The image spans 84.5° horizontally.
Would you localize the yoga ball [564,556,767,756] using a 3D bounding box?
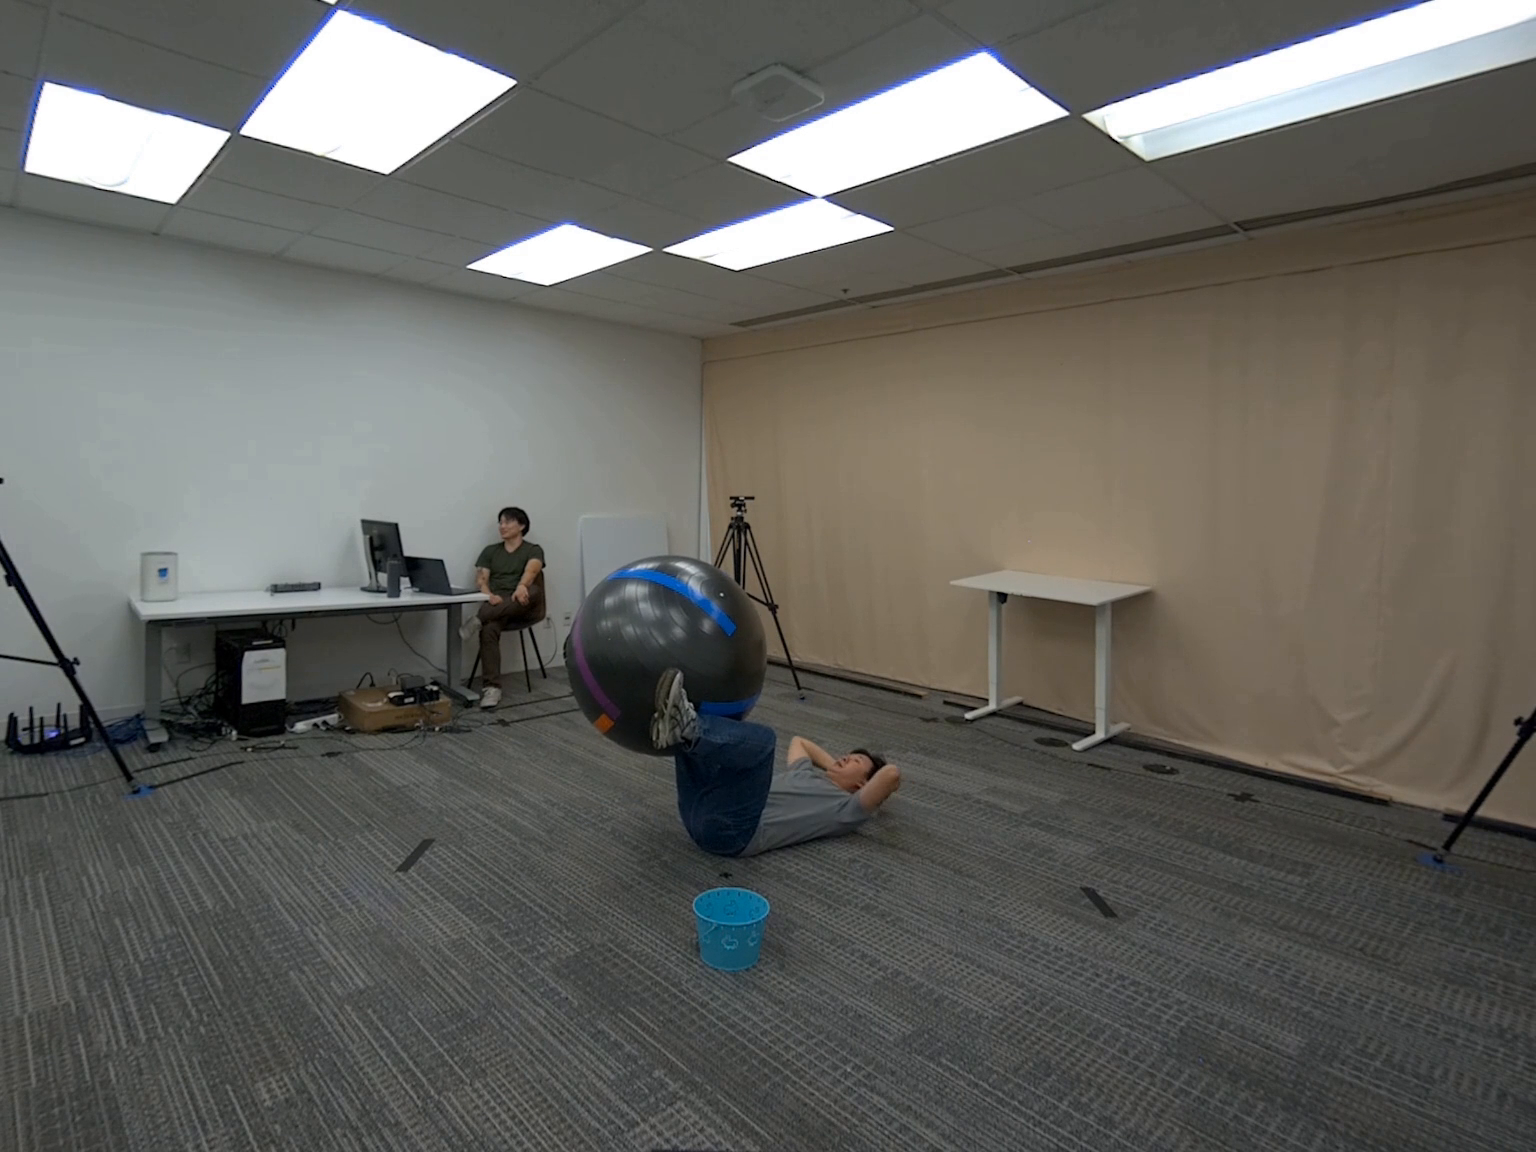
[{"bbox_3d":[-0.381,0.302,3.210,0.757,0.756,0.761,1,4,-1],"label":"yoga ball"}]
